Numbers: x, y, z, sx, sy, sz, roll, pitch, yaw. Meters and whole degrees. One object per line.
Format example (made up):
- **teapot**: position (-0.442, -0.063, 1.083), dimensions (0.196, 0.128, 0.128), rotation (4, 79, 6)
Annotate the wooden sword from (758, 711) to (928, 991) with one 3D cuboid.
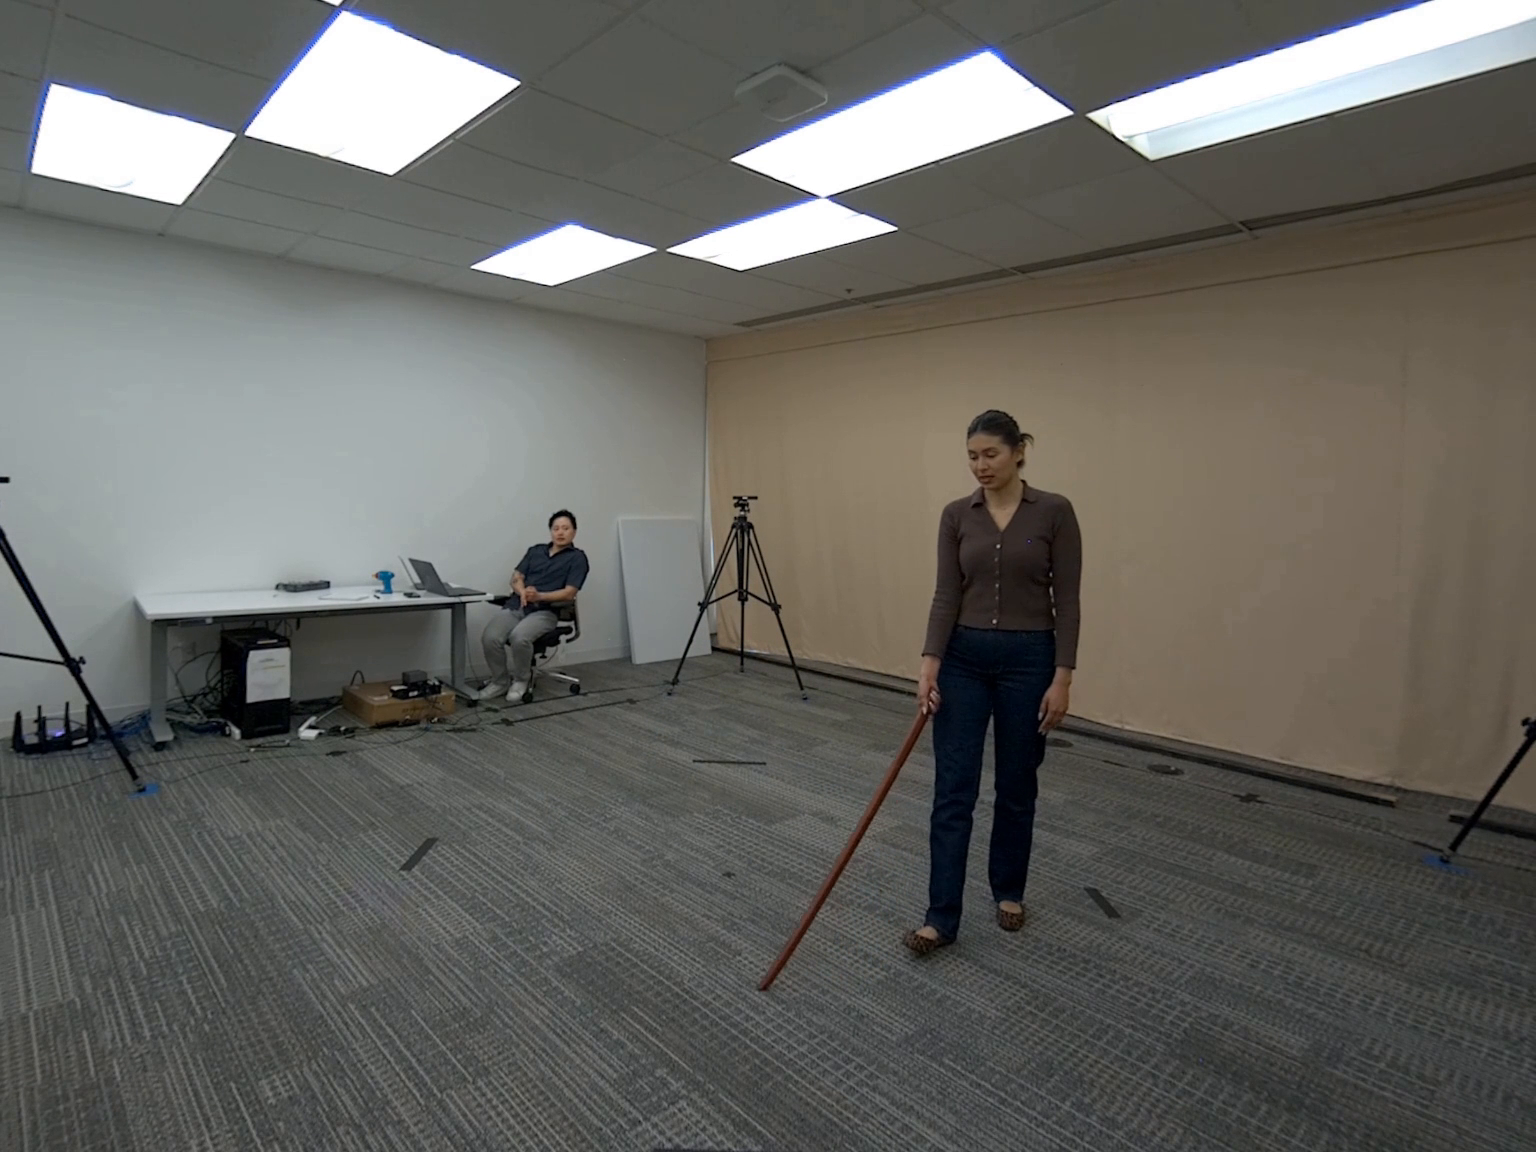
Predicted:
- **wooden sword**: position (0.252, 0.798, 2.525), dimensions (0.052, 1.027, 0.023), rotation (27, -20, 26)
